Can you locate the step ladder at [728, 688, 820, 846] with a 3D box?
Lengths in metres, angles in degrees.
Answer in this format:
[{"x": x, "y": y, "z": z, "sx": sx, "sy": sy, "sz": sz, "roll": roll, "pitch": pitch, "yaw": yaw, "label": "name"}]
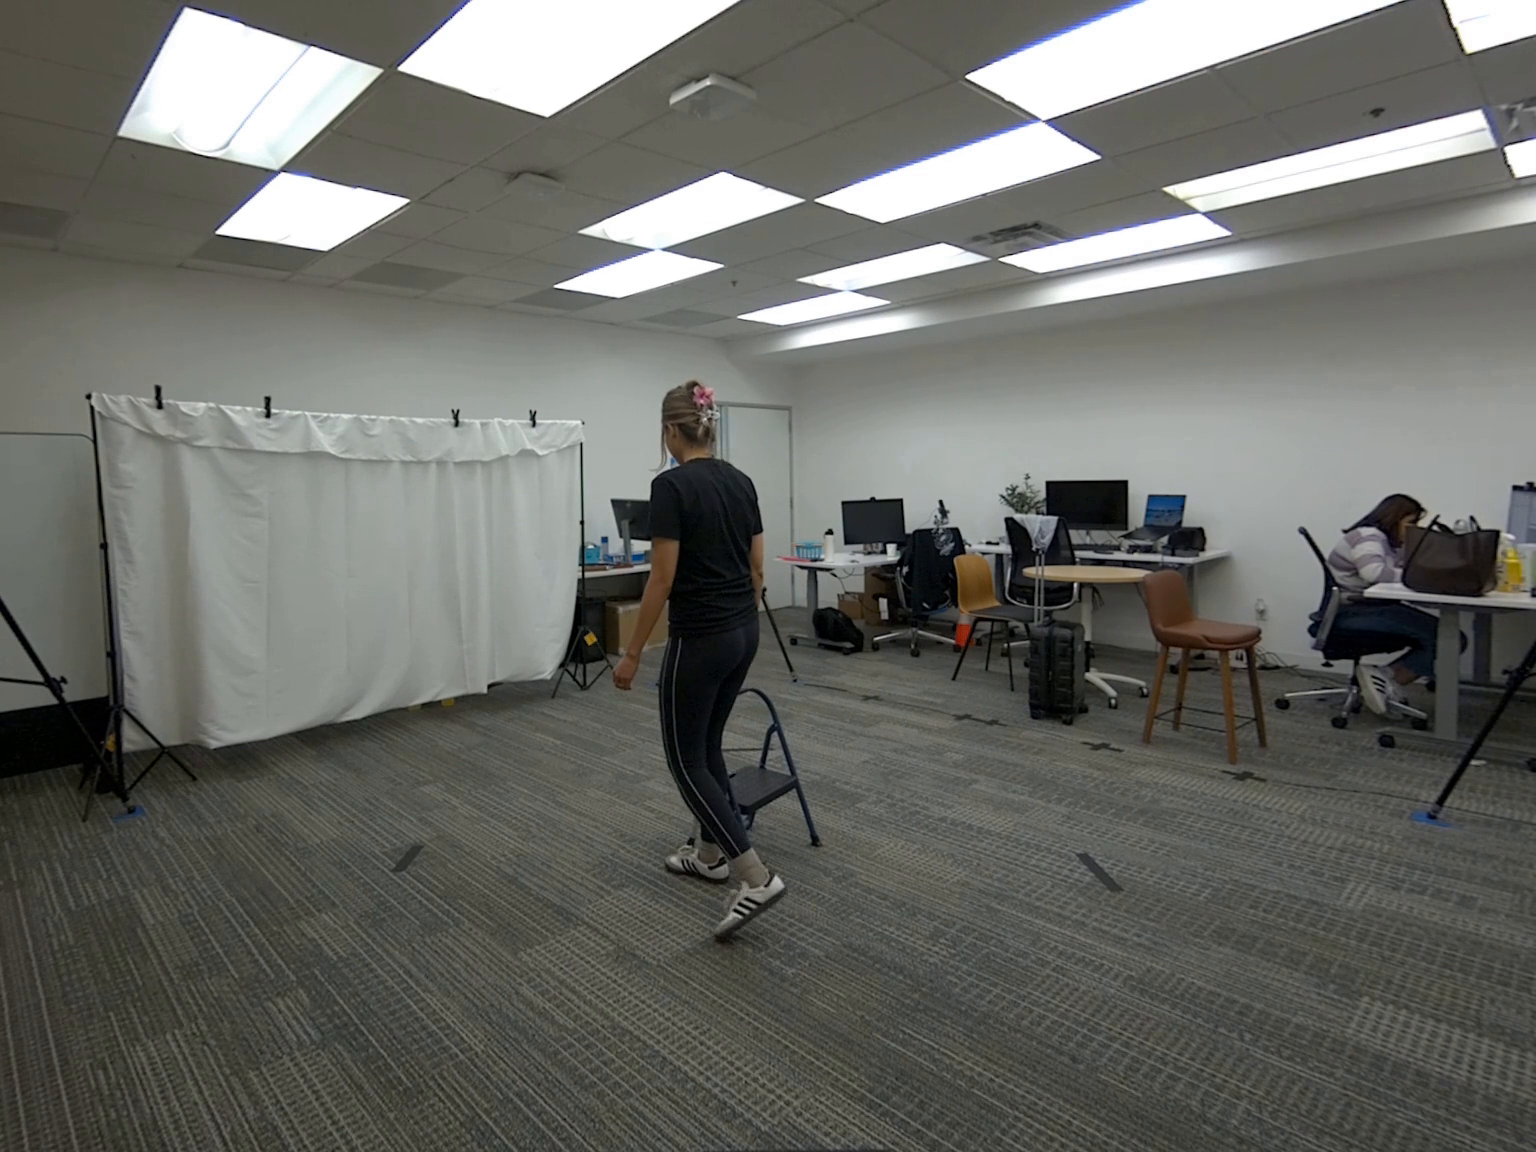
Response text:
[{"x": -0.051, "y": 0.735, "z": 3.181, "sx": 0.359, "sy": 0.604, "sz": 0.420, "roll": 3, "pitch": 5, "yaw": 34, "label": "step ladder"}]
